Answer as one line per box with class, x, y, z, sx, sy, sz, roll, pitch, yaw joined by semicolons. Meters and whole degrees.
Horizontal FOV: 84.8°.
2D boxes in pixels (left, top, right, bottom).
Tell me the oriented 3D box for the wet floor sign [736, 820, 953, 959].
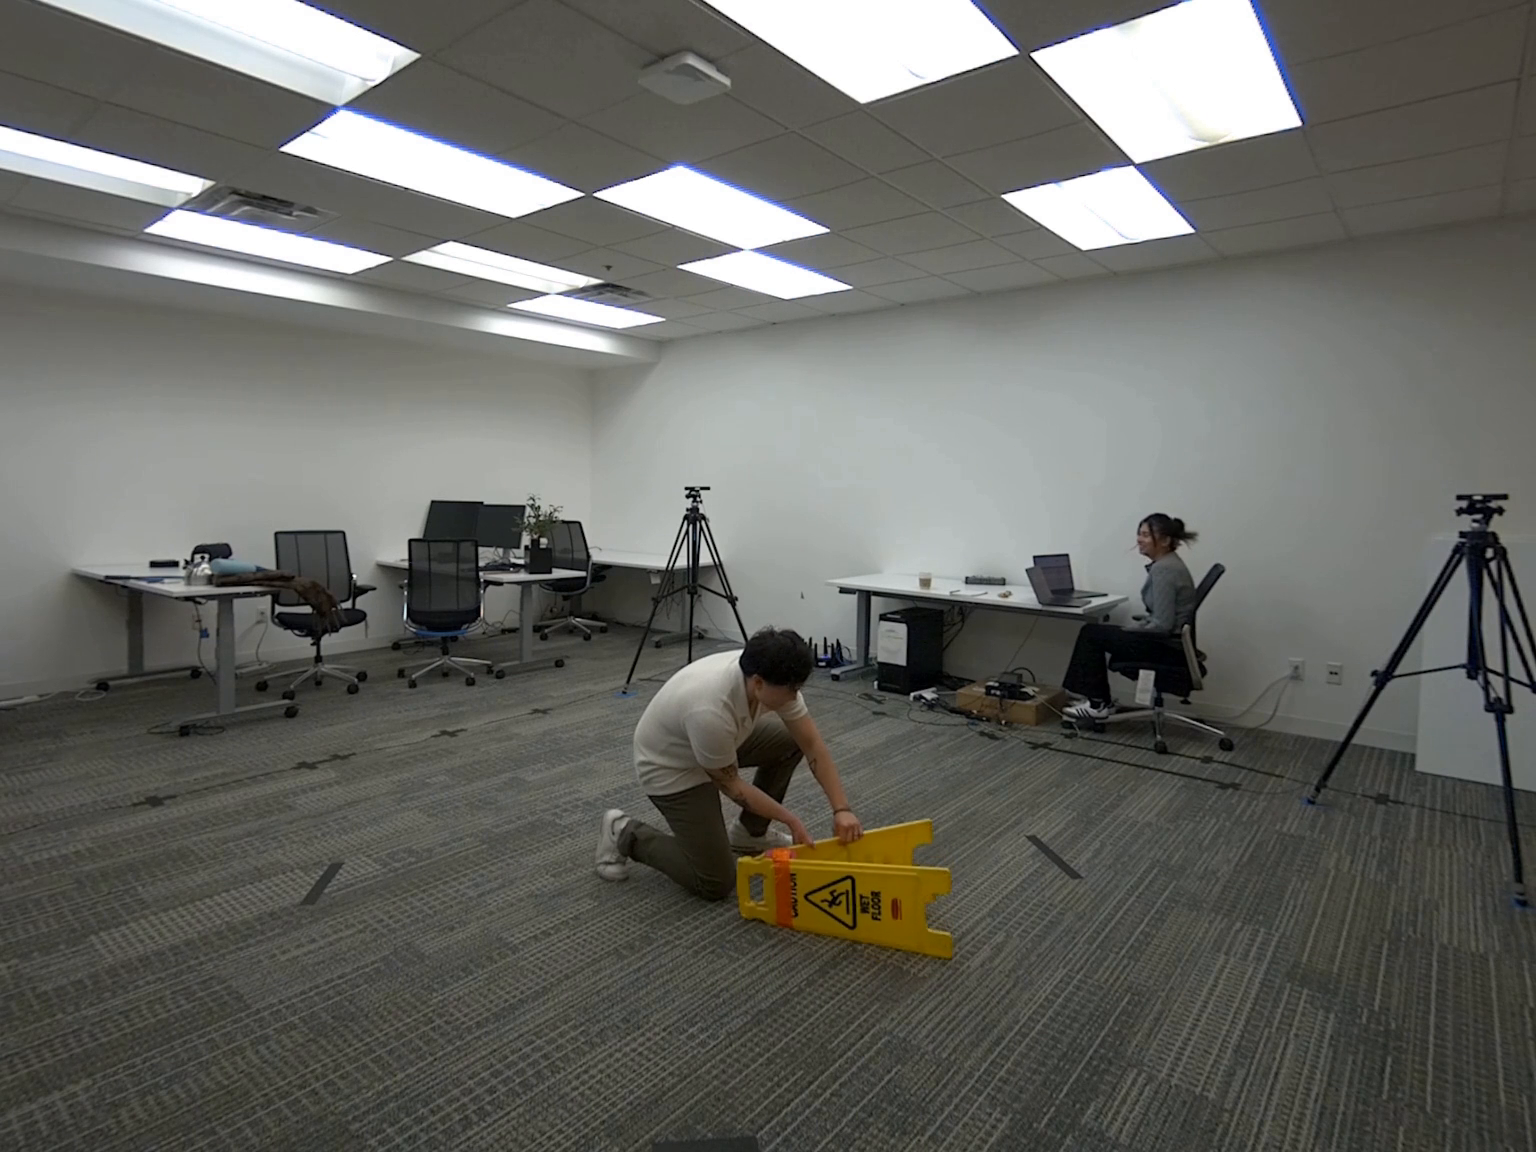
wet floor sign;0.220;0.980;2.698;0.649;0.280;0.290;-3;8;5
